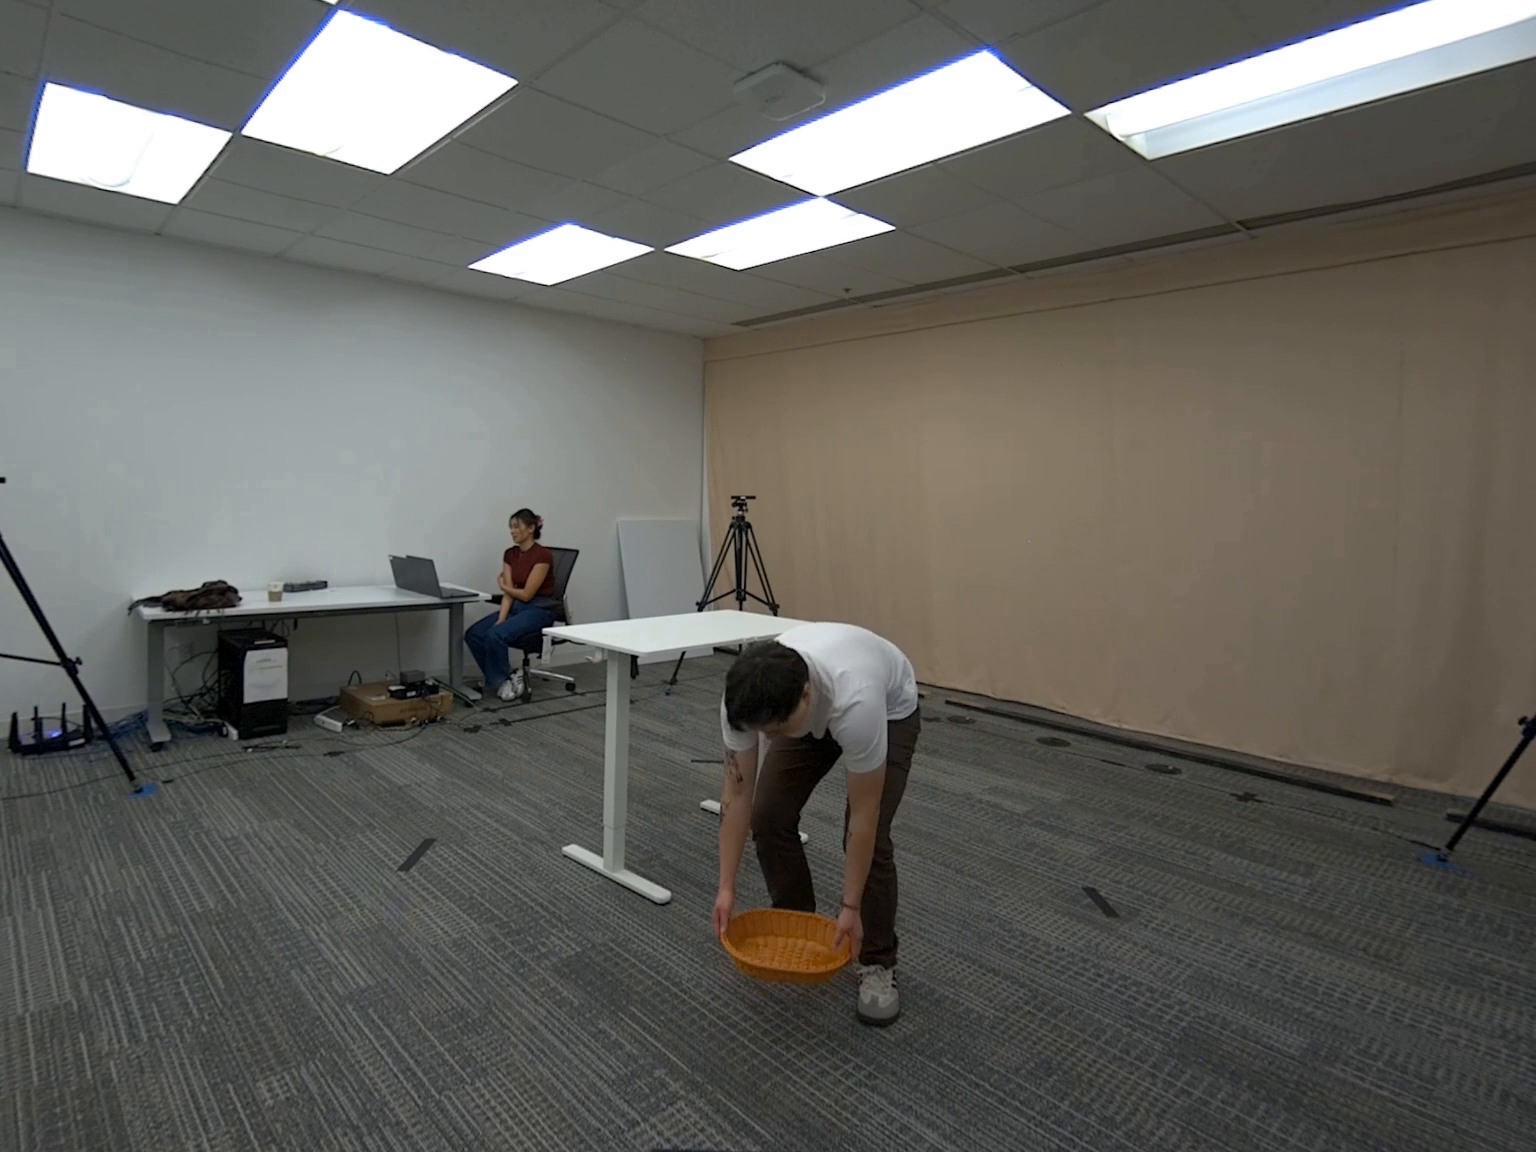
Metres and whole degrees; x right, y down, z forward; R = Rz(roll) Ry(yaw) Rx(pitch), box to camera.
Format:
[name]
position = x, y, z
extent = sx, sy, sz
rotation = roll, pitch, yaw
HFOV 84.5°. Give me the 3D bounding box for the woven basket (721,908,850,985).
[woven basket]
position = 0.047, 0.979, 2.198
extent = 0.353, 0.073, 0.252
rotation = 3, 10, 10
